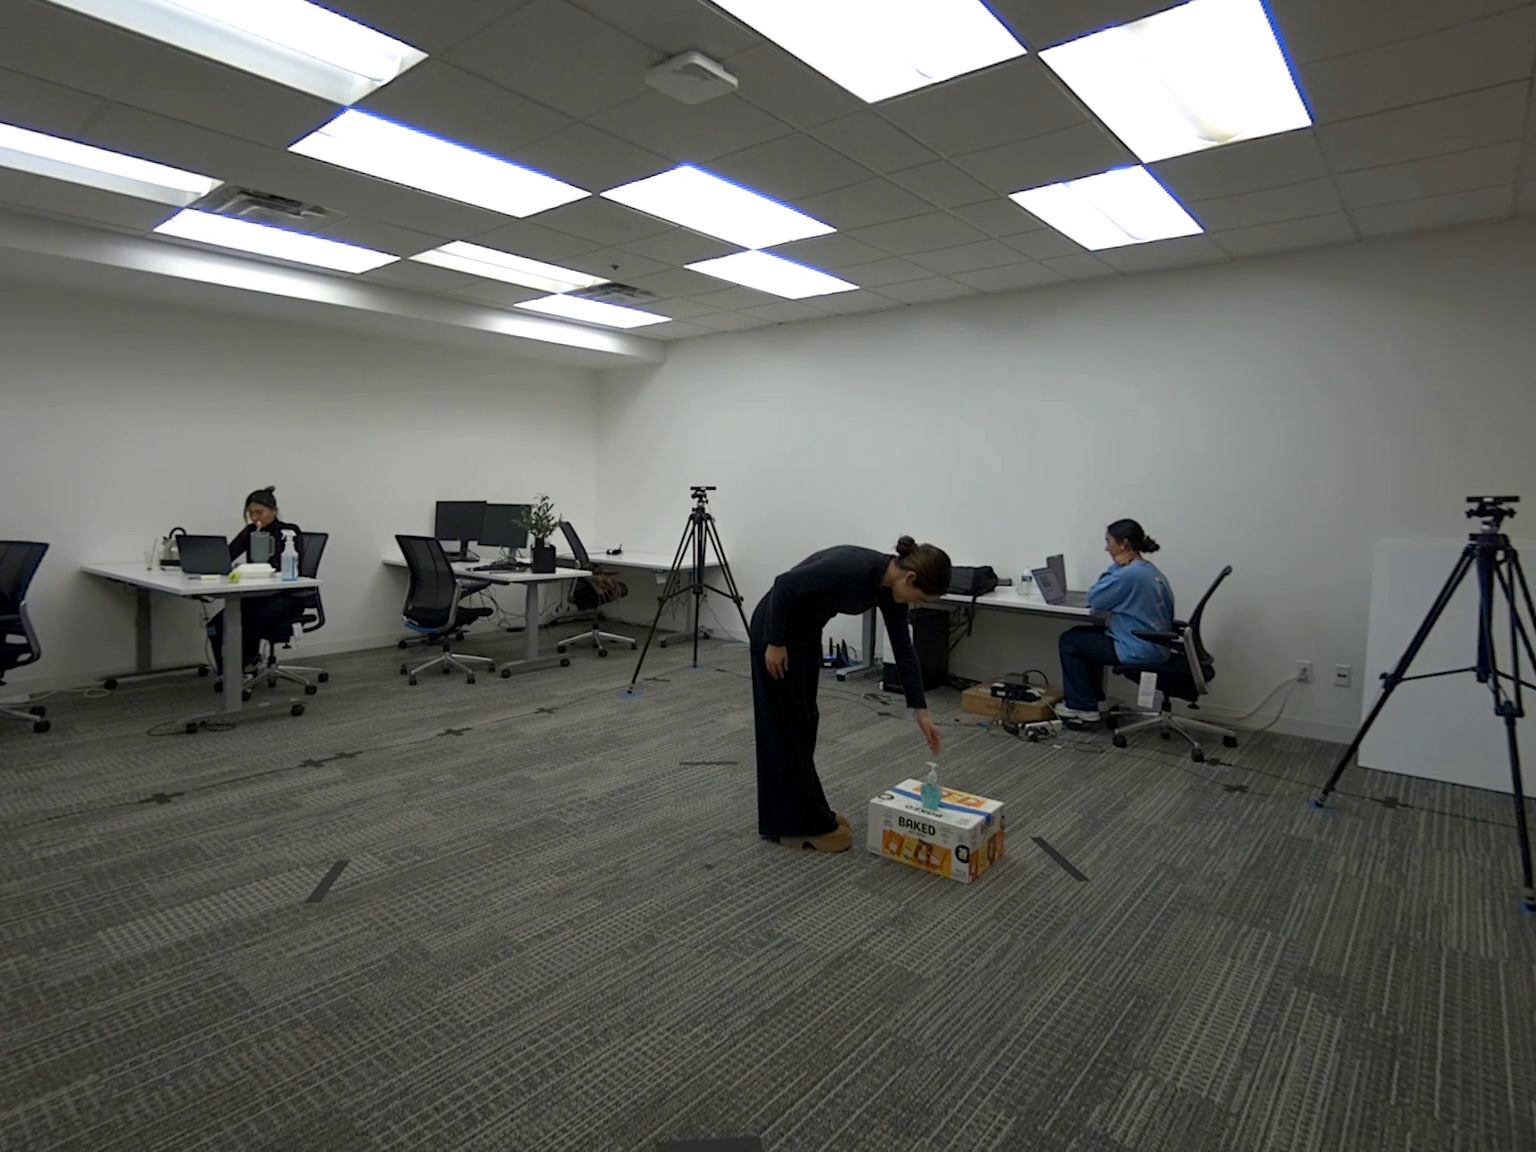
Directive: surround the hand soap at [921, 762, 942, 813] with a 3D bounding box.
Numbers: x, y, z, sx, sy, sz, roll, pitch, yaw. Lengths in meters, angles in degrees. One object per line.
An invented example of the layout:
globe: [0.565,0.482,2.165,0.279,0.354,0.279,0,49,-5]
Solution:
hand soap: [0.610,0.790,3.228,0.087,0.168,0.042,9,3,44]
